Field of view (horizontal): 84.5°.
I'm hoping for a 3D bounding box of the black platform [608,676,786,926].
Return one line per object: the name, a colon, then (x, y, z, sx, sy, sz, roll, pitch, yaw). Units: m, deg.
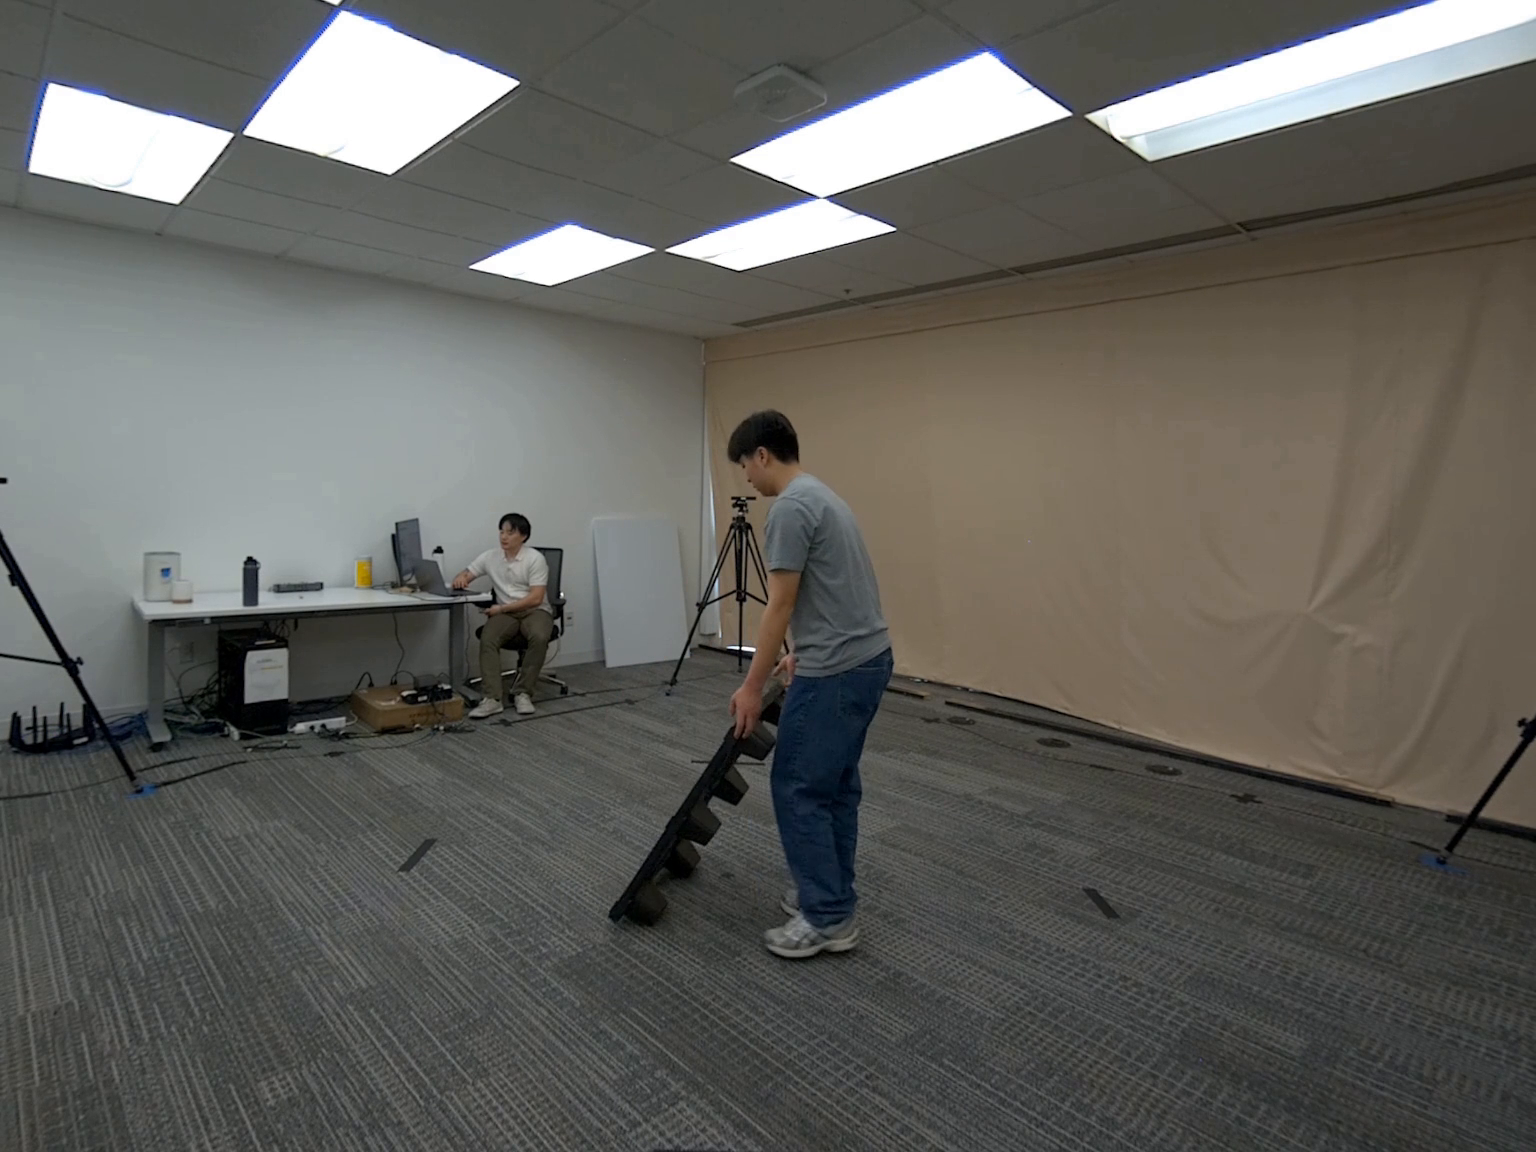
black platform: (-0.195, 0.785, 2.889, 0.145, 0.804, 0.599, 34, 11, 9)
